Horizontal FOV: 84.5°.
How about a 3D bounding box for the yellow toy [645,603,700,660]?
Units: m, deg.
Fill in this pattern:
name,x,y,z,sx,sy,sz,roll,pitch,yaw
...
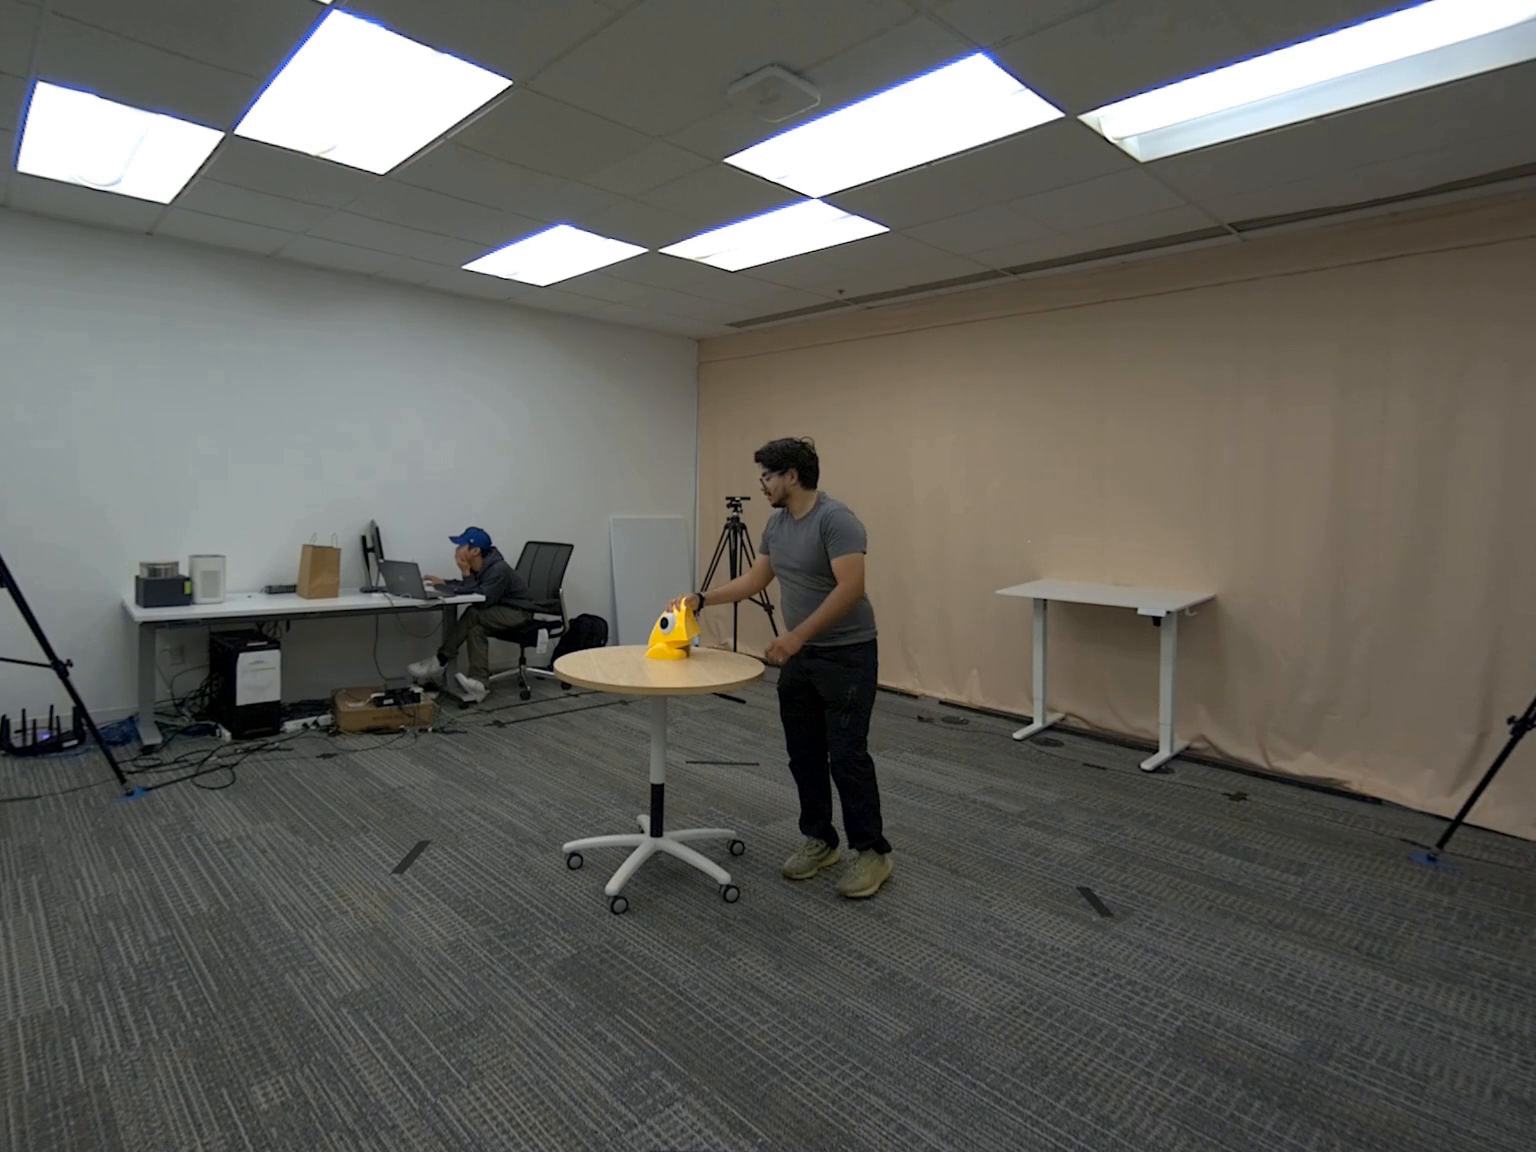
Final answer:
name,x,y,z,sx,sy,sz,roll,pitch,yaw
yellow toy,-0.375,0.186,3.254,0.195,0.230,0.203,2,2,12
